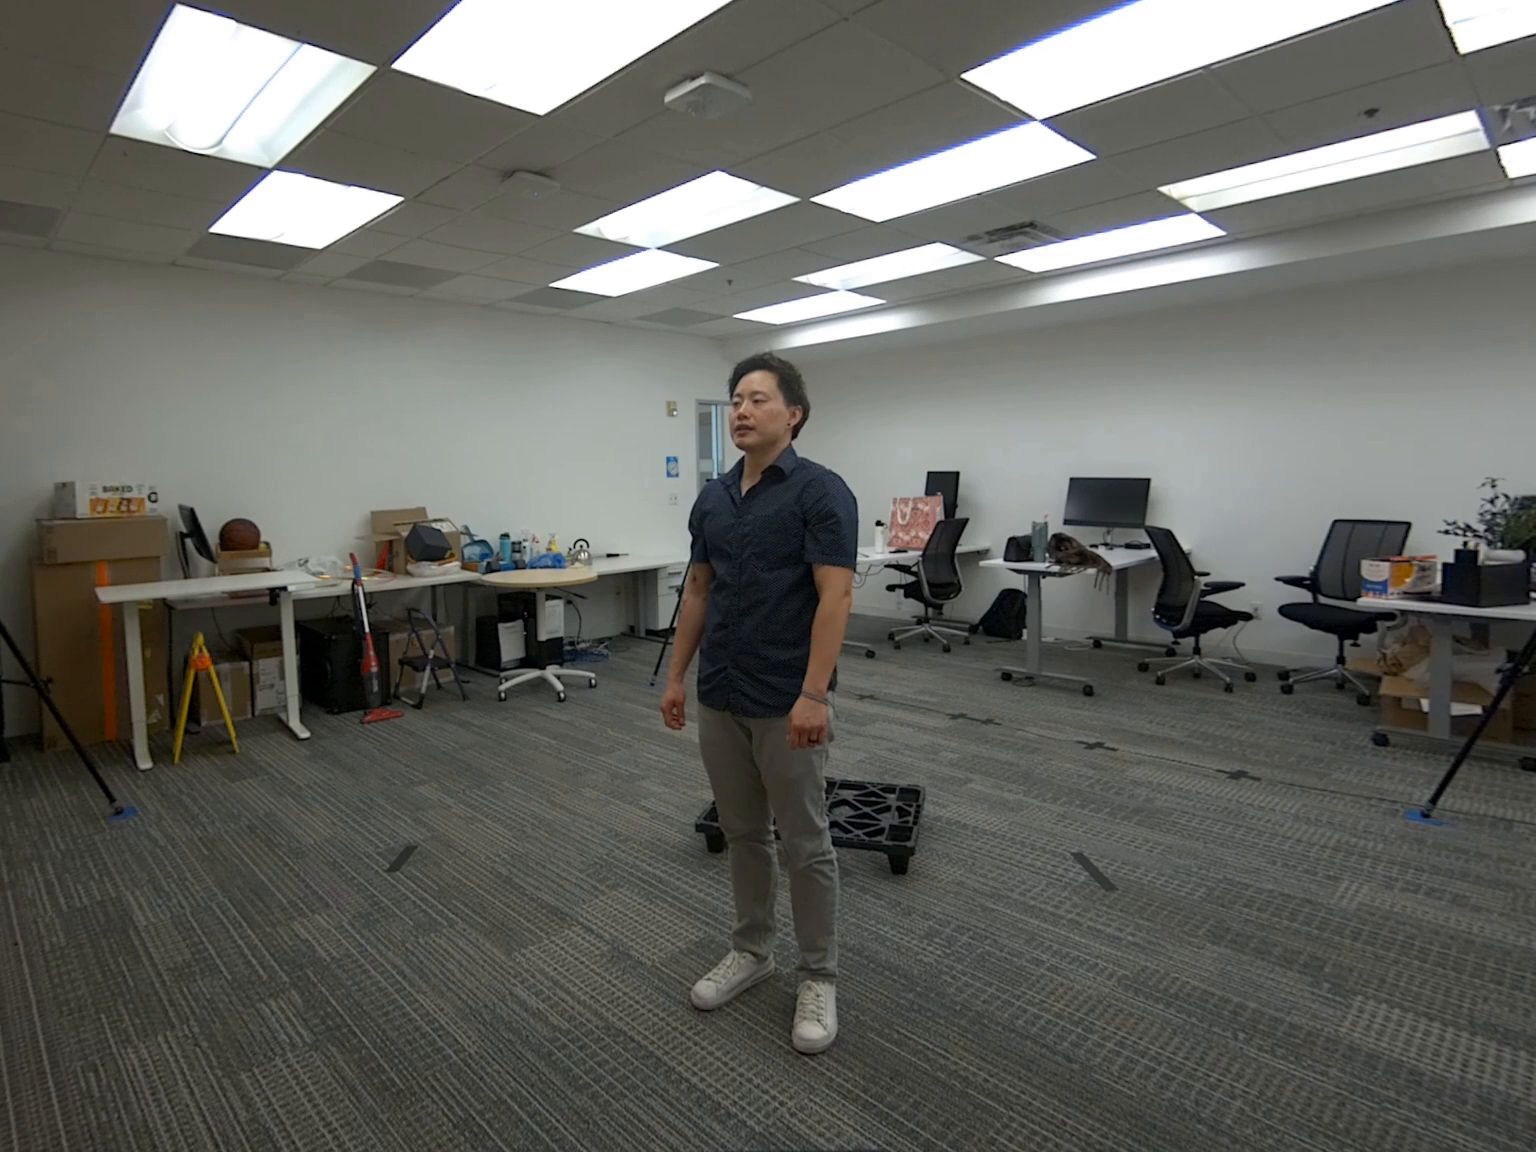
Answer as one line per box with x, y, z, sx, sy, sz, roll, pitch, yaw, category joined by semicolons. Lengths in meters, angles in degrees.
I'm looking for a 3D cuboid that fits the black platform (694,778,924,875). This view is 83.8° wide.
0.183;0.949;3.322;0.819;0.143;0.598;1;6;16;black platform
